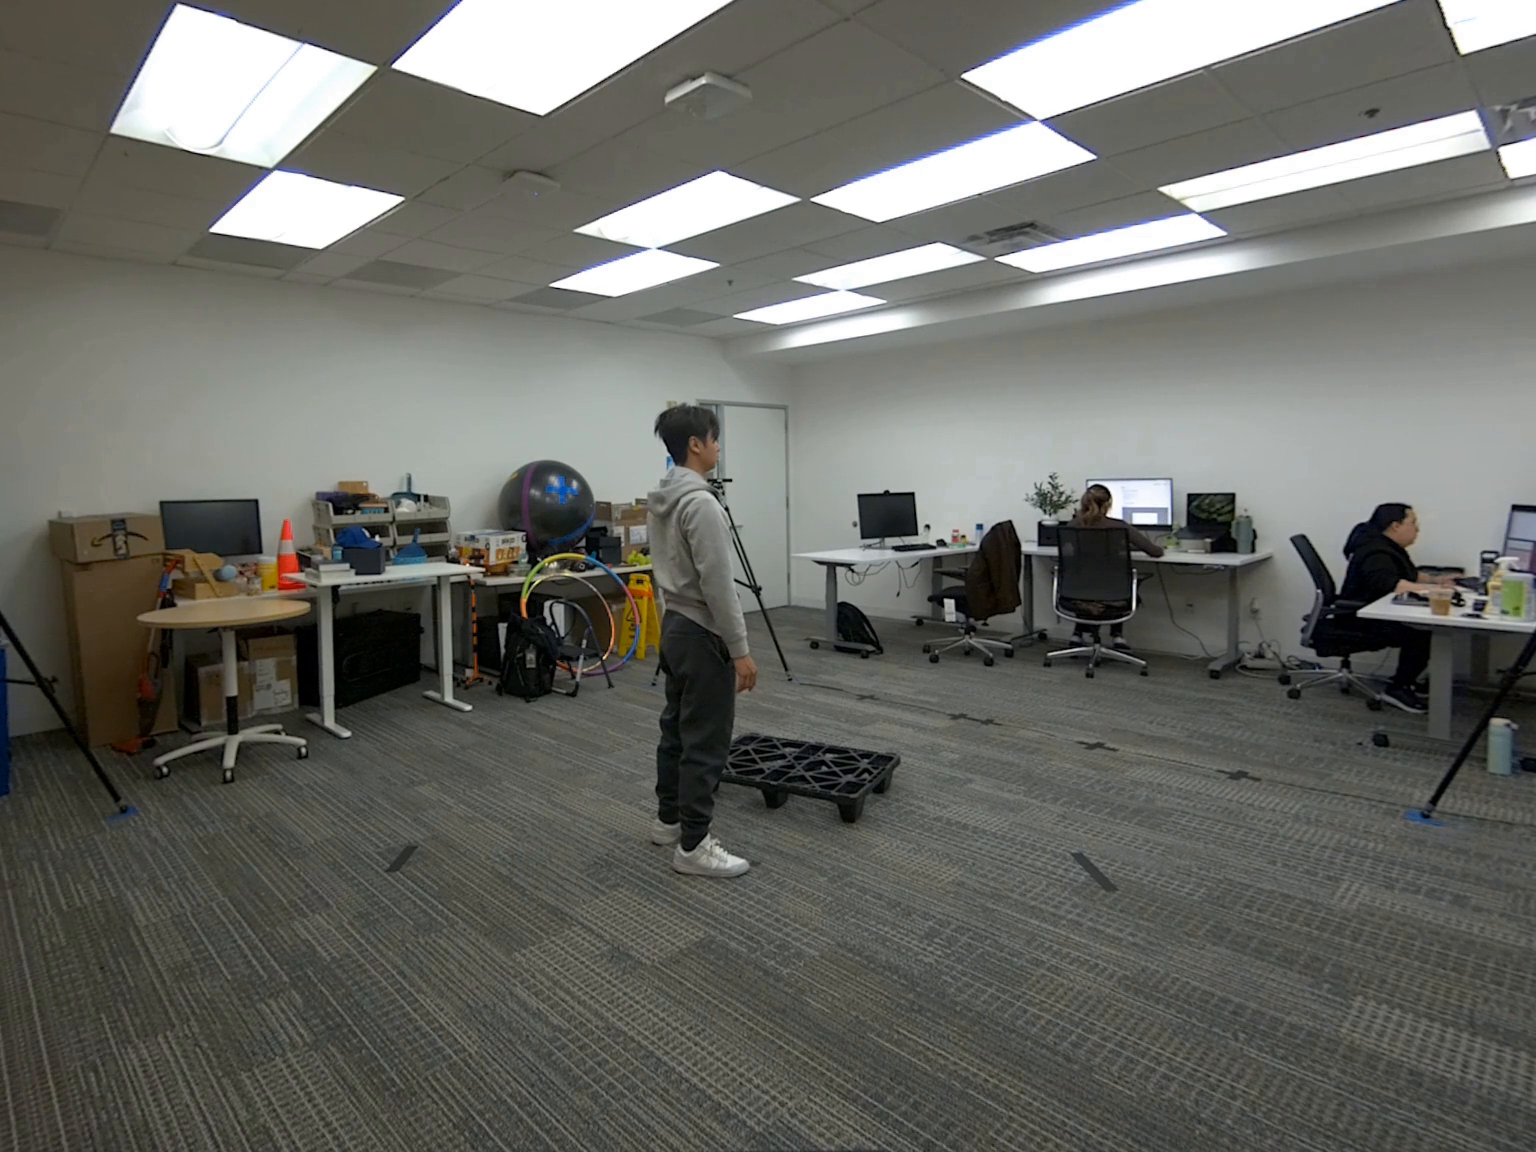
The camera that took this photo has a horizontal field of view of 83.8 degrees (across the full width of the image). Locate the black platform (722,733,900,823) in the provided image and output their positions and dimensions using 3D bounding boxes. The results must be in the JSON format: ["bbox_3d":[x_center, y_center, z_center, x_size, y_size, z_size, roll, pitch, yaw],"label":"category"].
[{"bbox_3d":[0.117,0.892,3.829,0.826,0.143,0.592,3,6,28],"label":"black platform"}]
